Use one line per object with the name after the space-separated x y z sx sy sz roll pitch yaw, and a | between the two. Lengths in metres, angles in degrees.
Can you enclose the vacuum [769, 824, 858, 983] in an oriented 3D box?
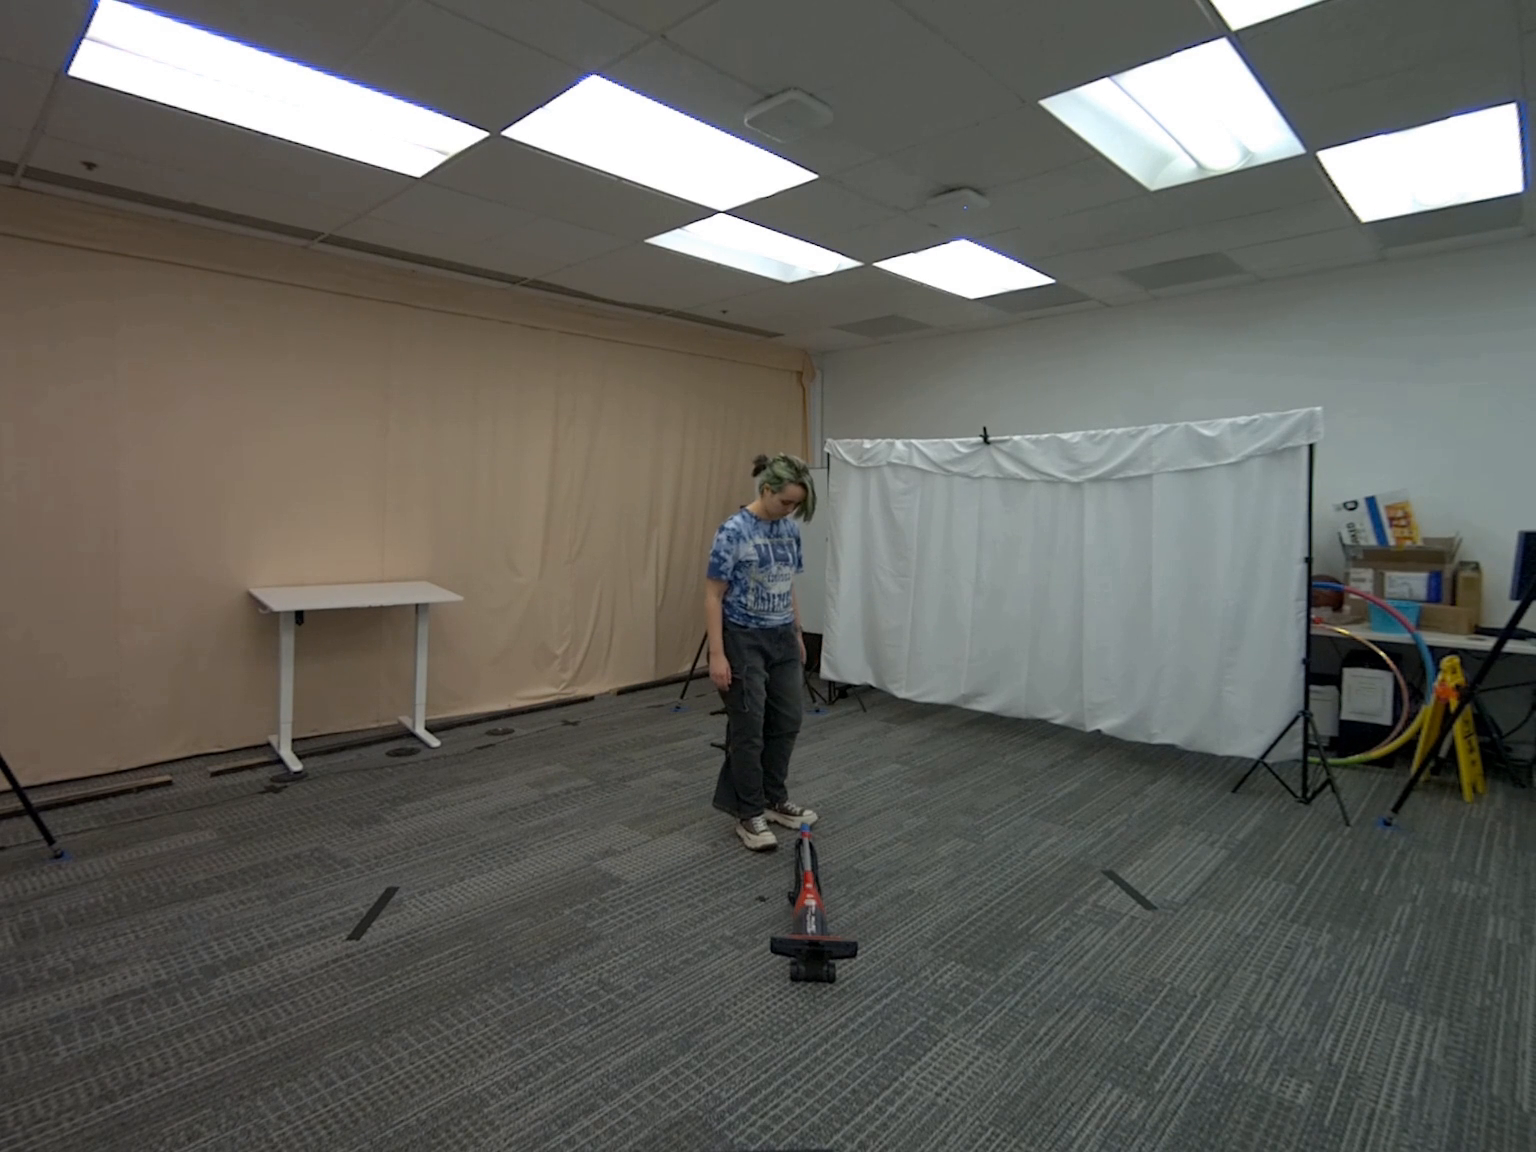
0.130 1.075 2.959 0.253 0.144 1.049 0 3 -1 | vacuum
